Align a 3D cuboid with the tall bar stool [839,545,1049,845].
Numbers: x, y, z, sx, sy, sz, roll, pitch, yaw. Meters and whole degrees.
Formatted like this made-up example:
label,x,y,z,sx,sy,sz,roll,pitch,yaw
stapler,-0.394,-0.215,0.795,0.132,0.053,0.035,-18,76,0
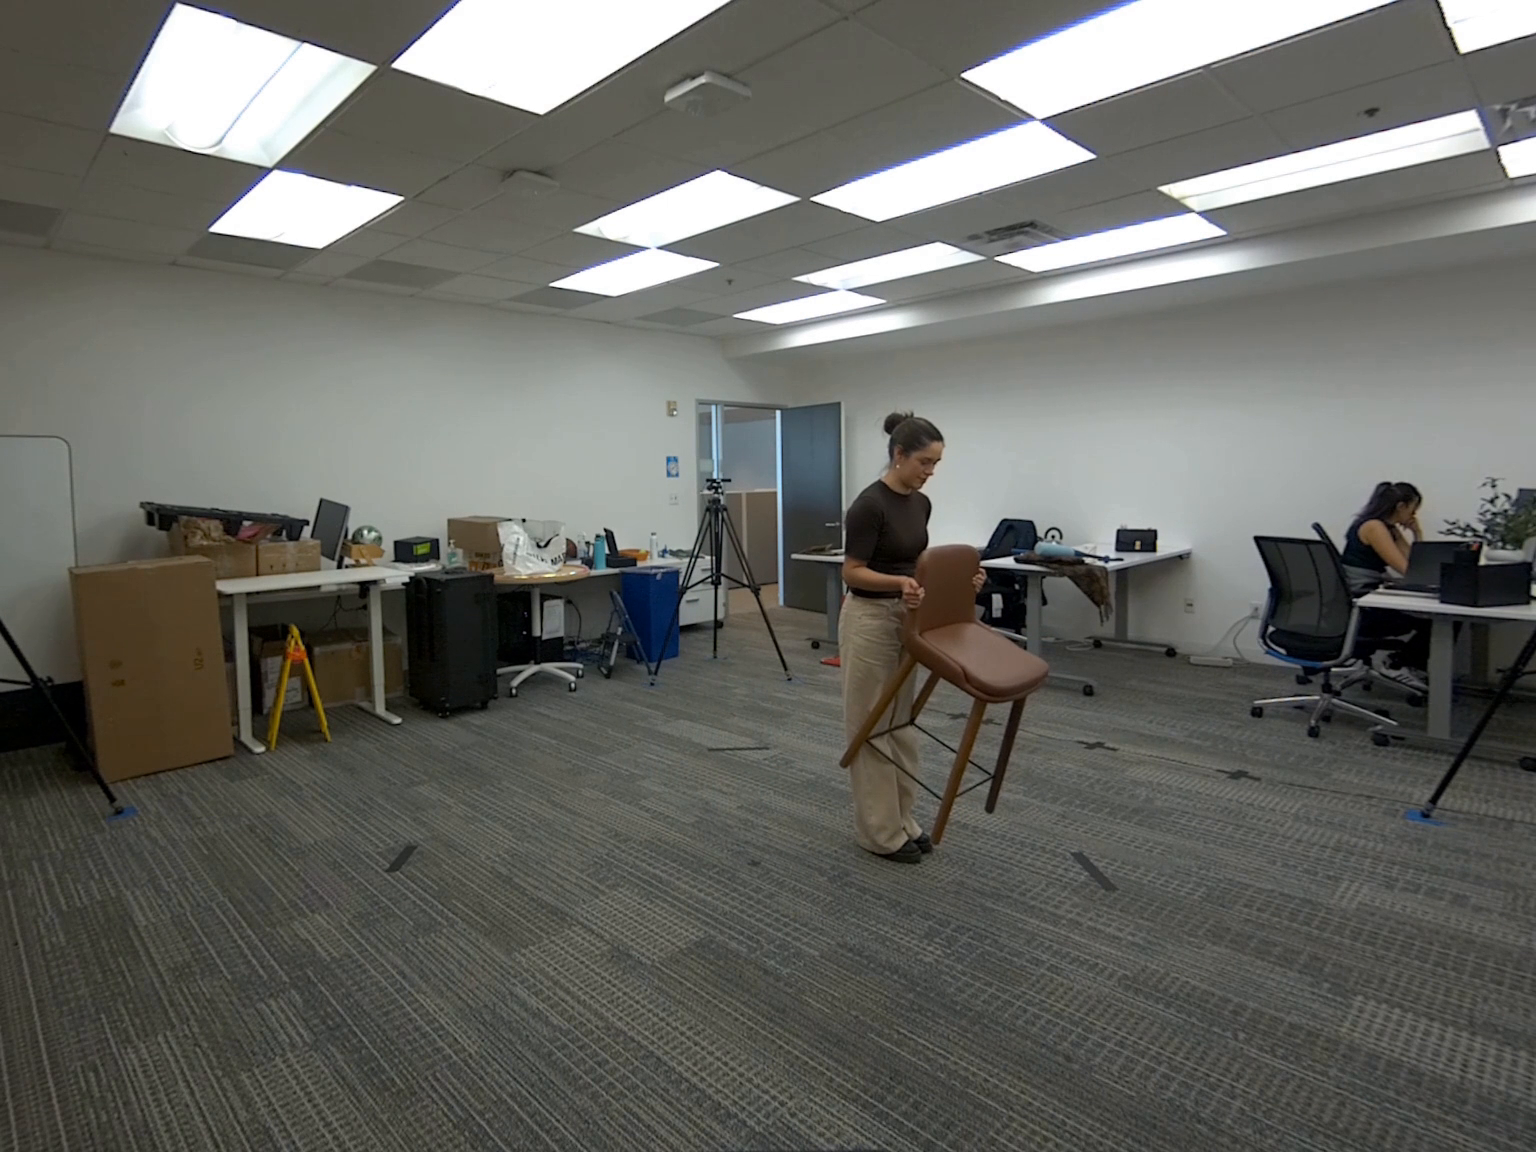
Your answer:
label,x,y,z,sx,sy,sz,roll,pitch,yaw
tall bar stool,0.663,0.396,2.982,0.485,0.880,0.444,30,22,38
